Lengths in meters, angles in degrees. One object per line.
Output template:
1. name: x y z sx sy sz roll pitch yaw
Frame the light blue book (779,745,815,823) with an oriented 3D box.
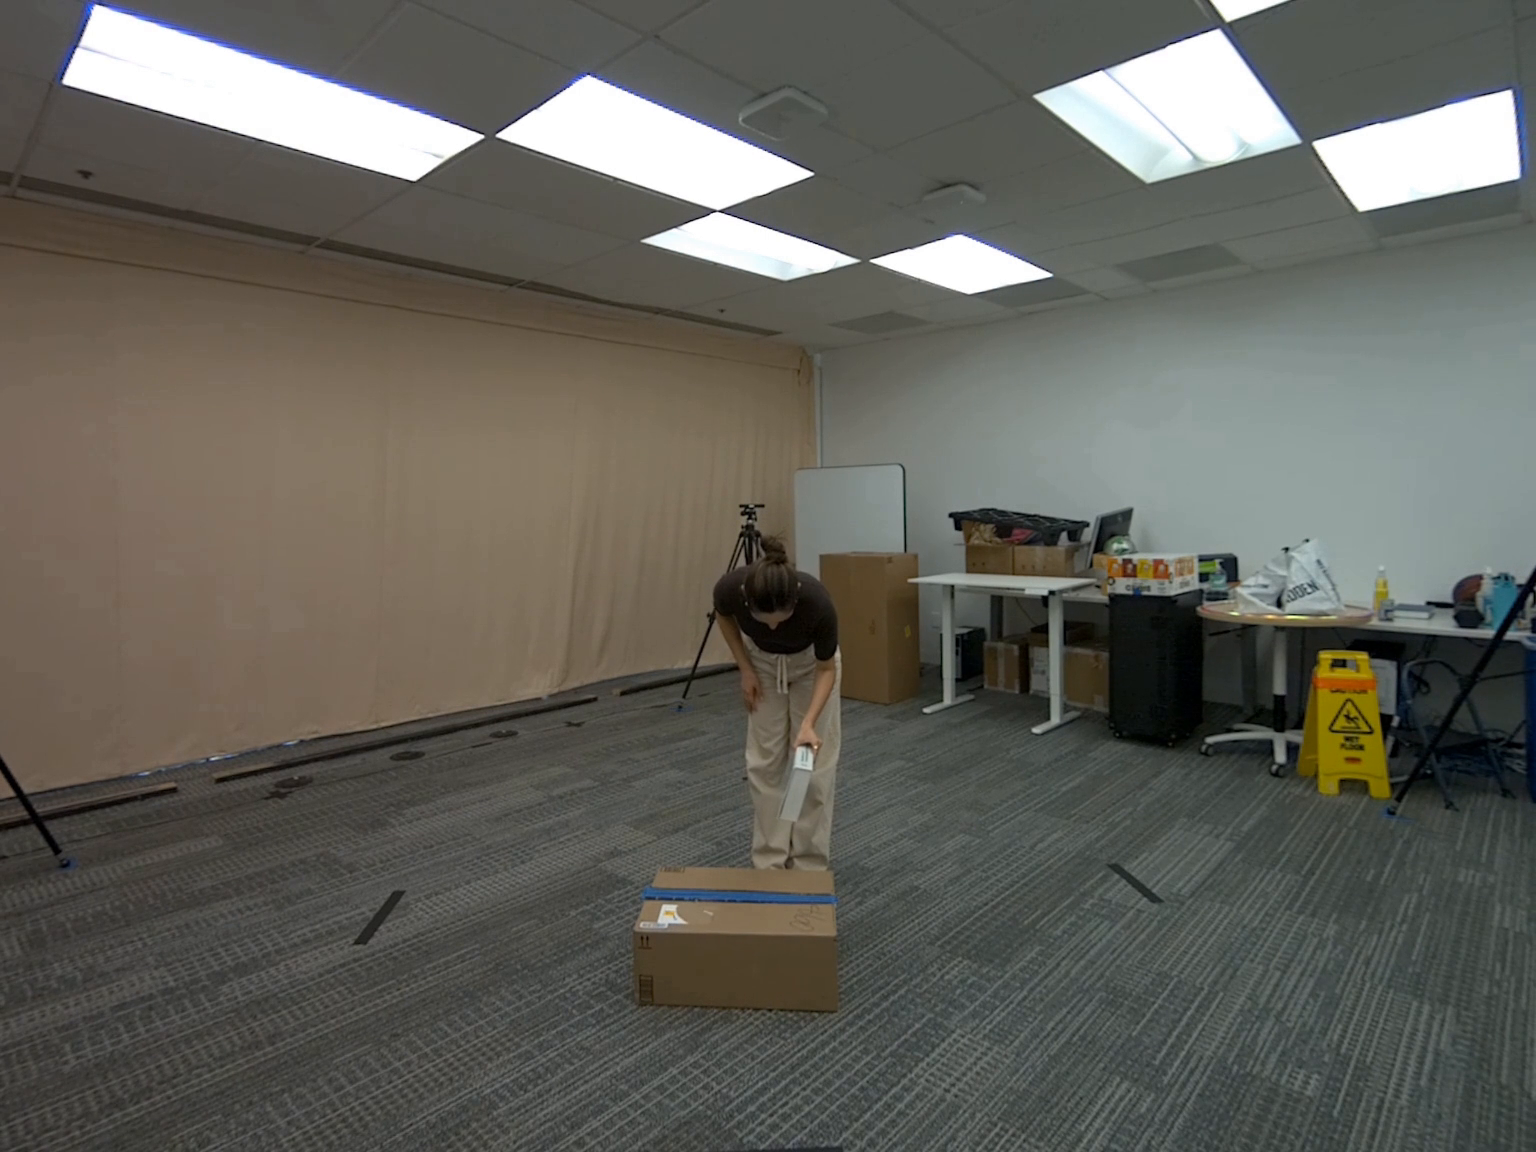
1. light blue book: 0.095 0.635 2.694 0.059 0.190 0.261 11 13 1
